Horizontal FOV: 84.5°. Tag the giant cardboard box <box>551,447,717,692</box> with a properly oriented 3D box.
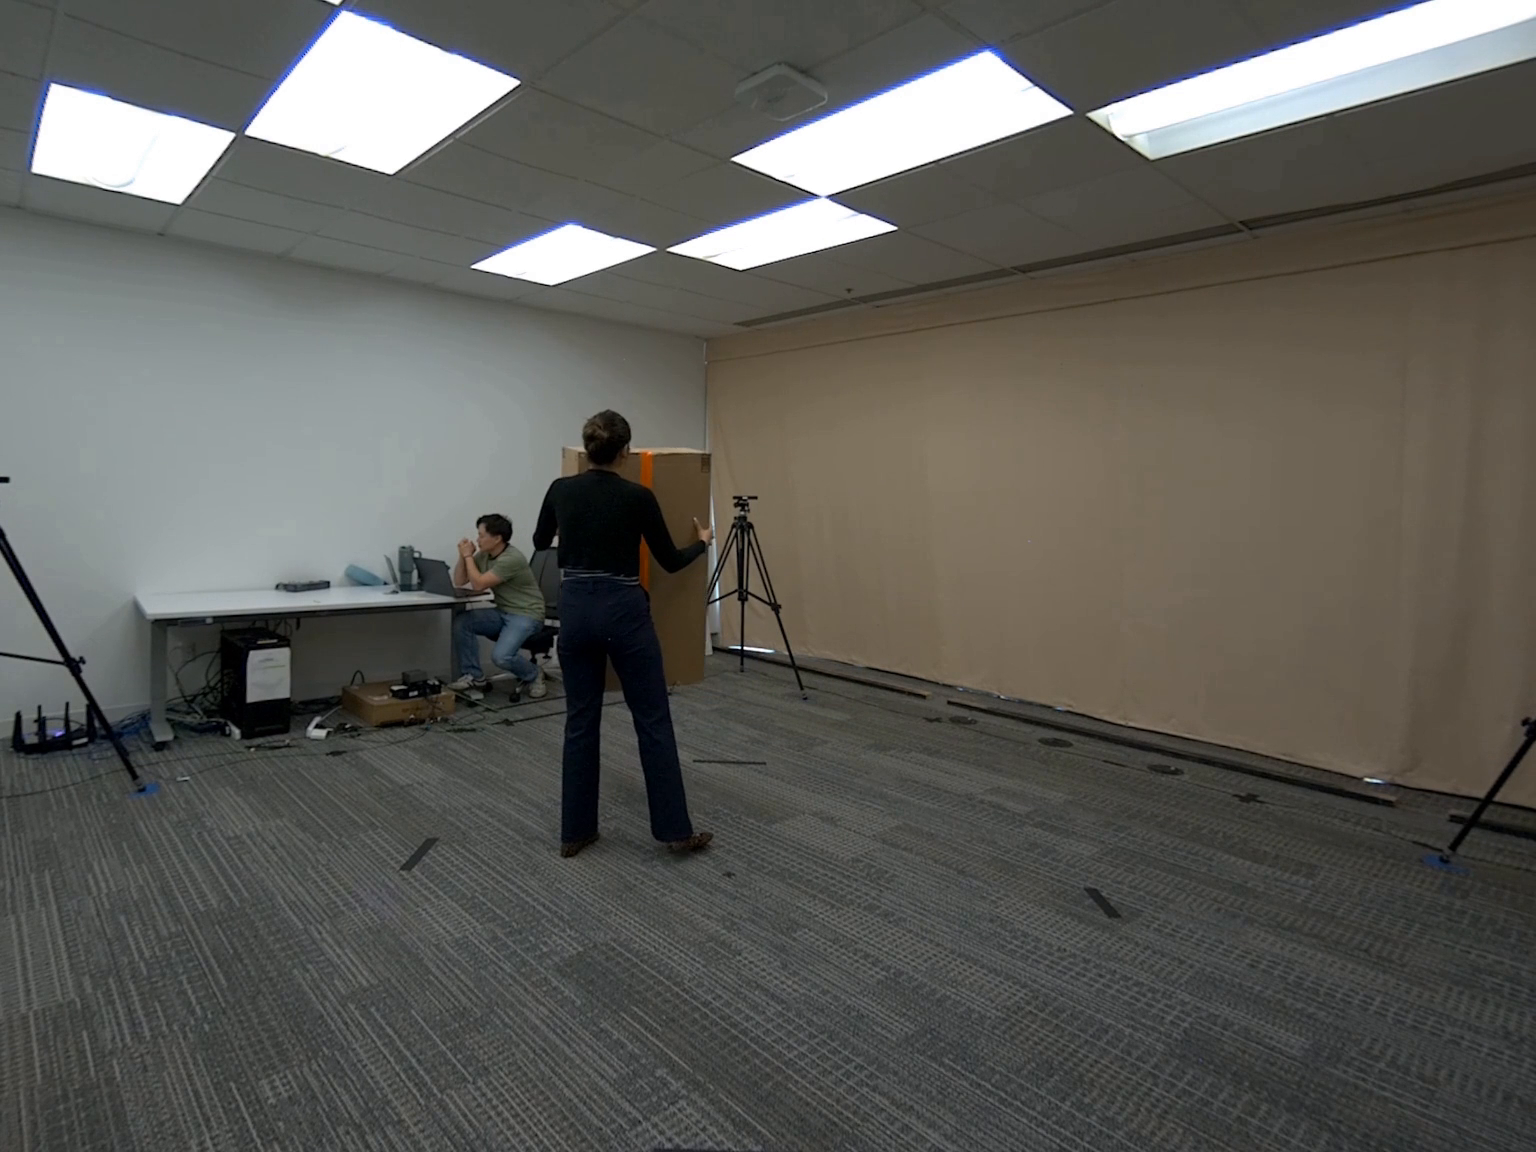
[{"bbox_3d":[-0.602,-0.050,3.758,0.569,1.019,0.435,-2,10,-21],"label":"giant cardboard box"}]
